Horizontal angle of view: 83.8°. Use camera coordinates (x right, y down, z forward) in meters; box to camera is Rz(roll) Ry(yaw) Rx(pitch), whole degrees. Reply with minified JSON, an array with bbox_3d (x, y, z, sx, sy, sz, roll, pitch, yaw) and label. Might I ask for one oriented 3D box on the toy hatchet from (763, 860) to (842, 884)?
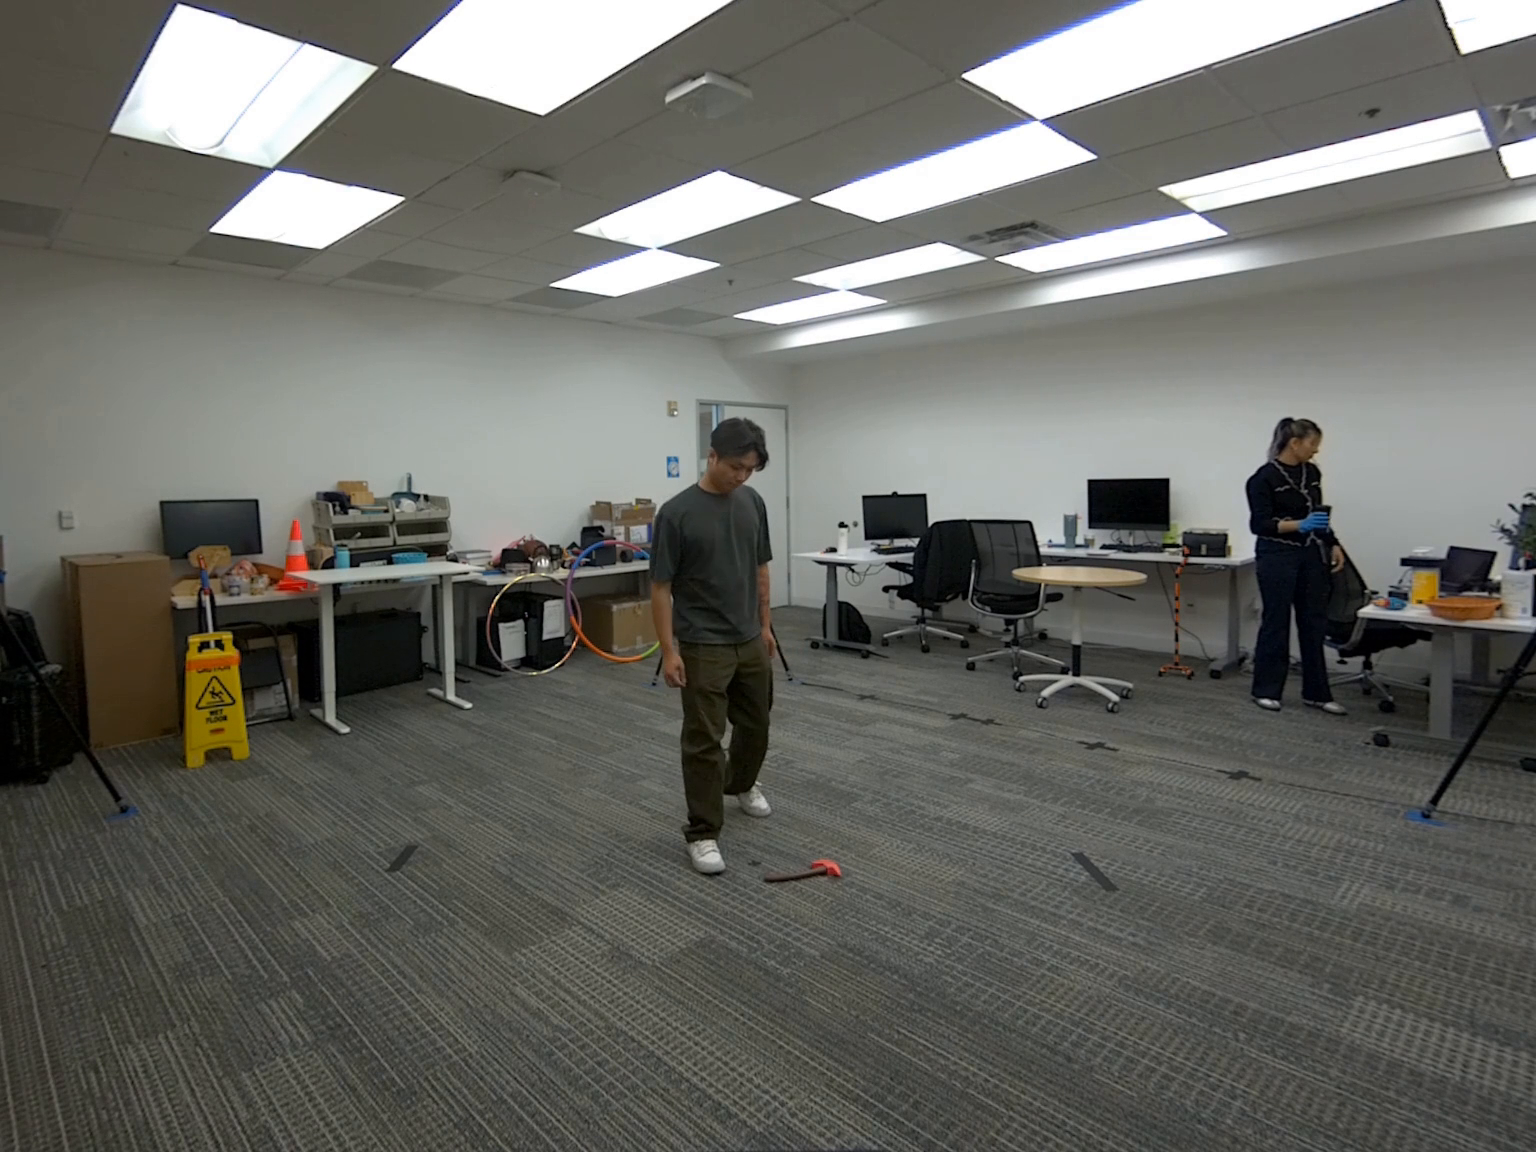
[{"bbox_3d":[0.119,1.039,3.022,0.269,0.029,0.132,-3,8,-5],"label":"toy hatchet"}]
